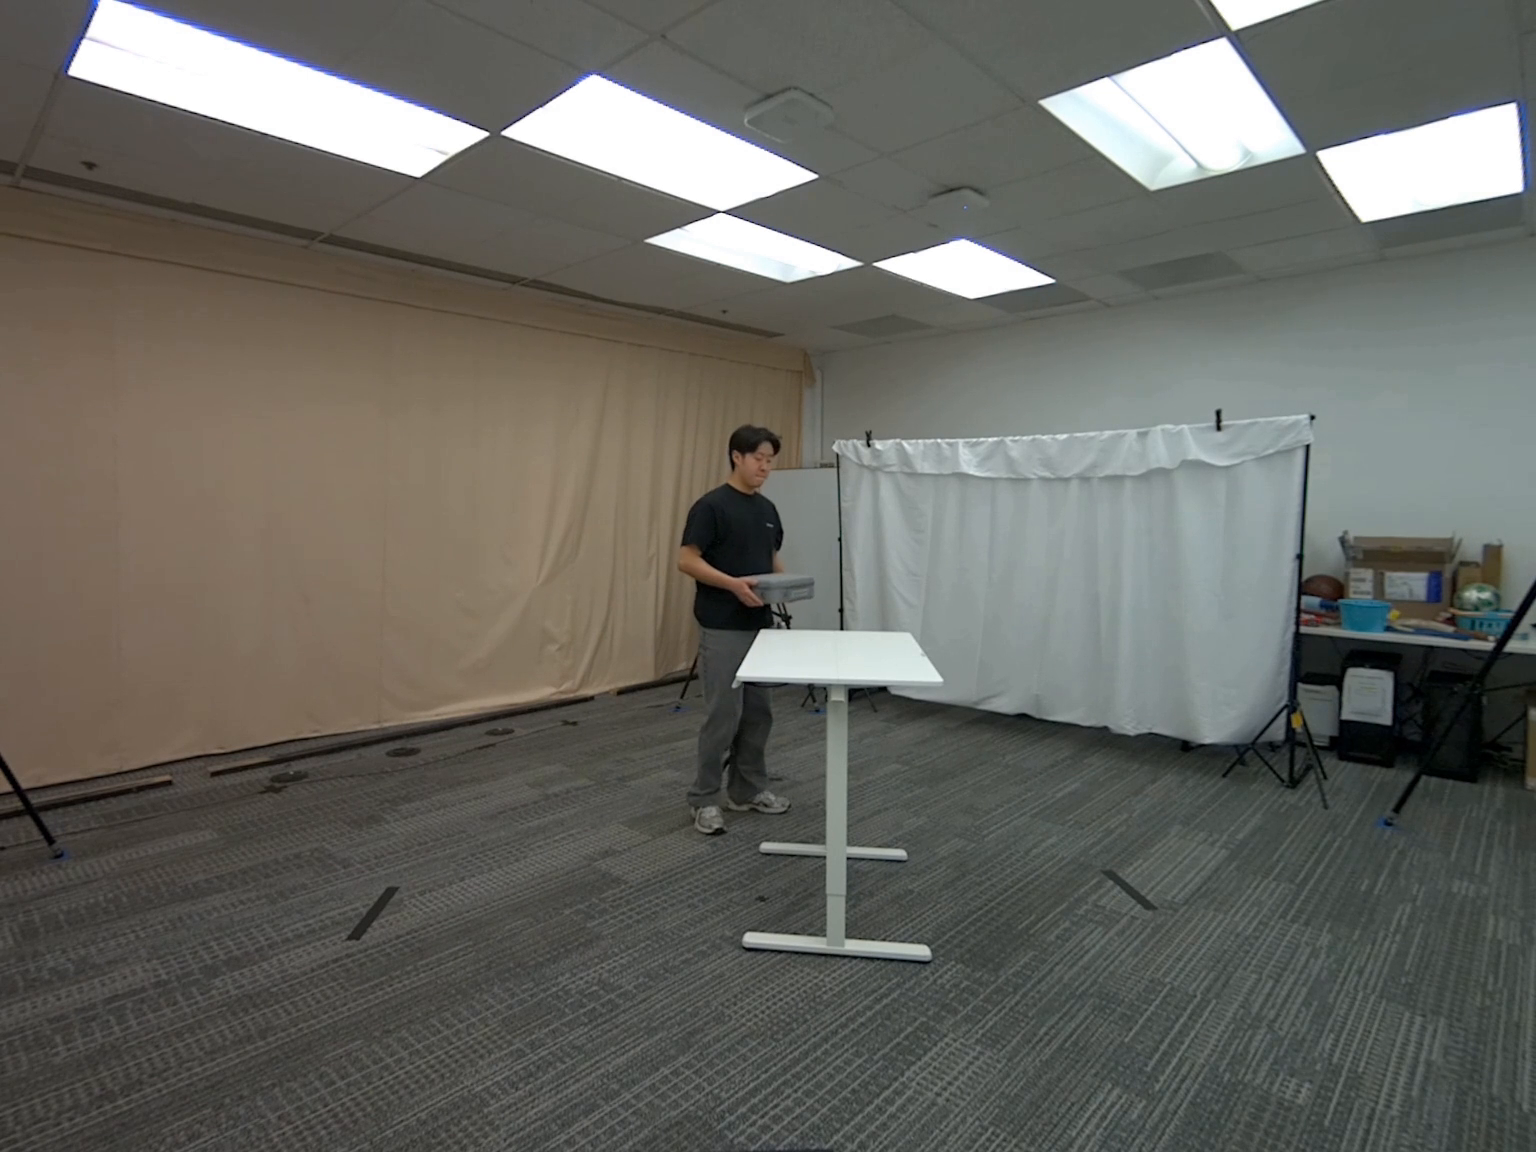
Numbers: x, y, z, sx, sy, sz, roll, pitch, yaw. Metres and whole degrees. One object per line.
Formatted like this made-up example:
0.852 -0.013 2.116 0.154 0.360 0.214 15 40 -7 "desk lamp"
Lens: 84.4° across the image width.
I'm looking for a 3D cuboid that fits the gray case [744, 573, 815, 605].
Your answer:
0.039 0.053 3.594 0.255 0.103 0.297 -7 8 -43 "gray case"
